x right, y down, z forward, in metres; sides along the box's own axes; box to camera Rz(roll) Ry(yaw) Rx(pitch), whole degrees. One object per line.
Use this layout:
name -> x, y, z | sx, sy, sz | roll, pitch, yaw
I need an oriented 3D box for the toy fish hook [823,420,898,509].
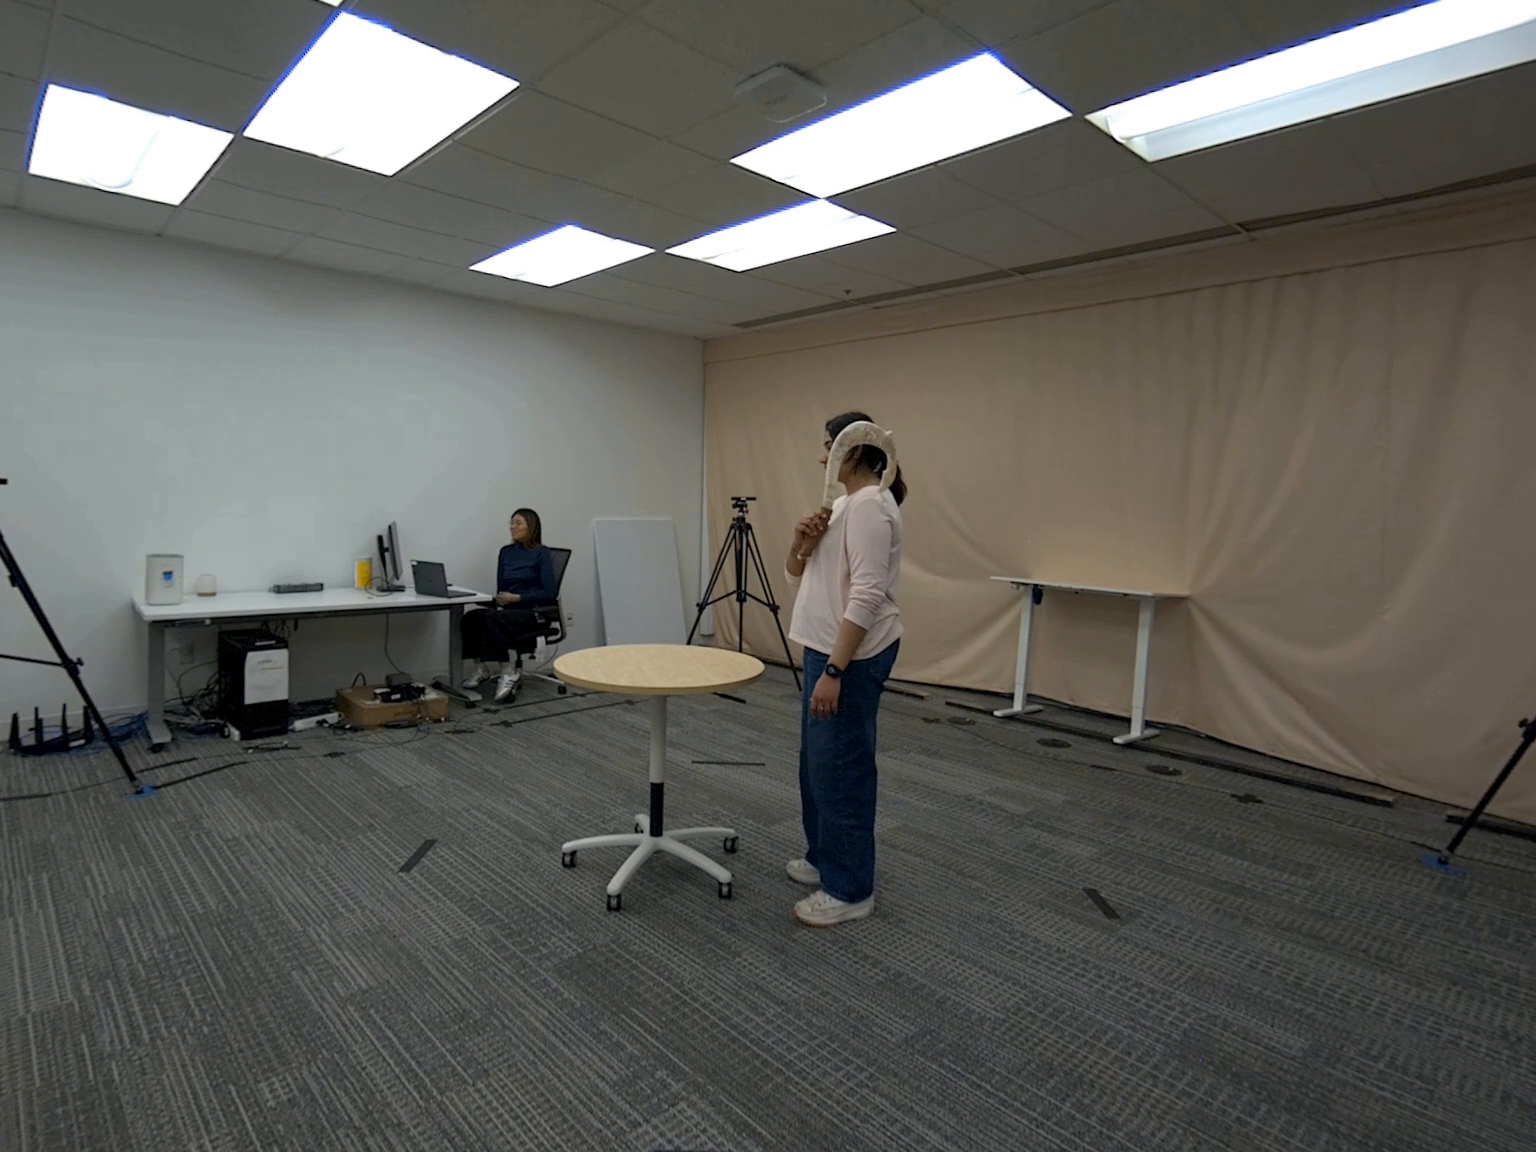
toy fish hook -> 0.259, -0.256, 2.760 | 0.227, 0.505, 0.048 | 24, 9, 9
